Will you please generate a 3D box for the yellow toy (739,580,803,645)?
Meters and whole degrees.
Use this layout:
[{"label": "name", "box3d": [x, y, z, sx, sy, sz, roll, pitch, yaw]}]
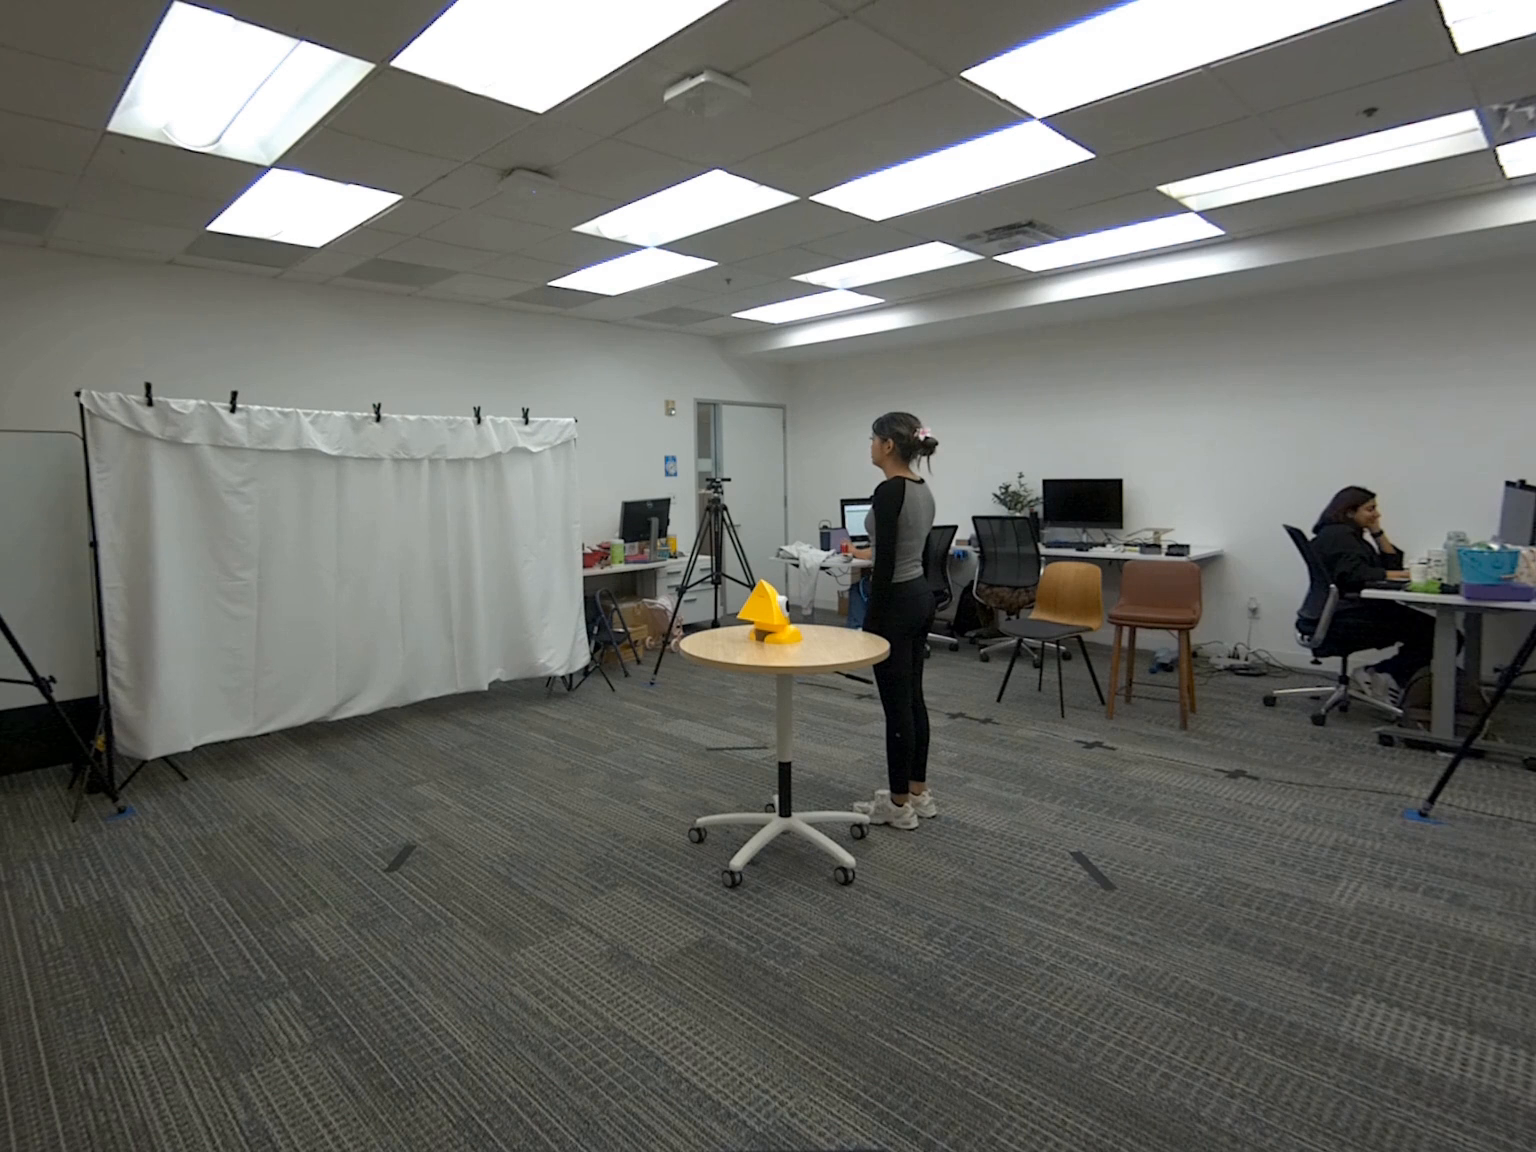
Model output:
[{"label": "yellow toy", "box3d": [0.021, 0.122, 3.202, 0.188, 0.230, 0.211, -4, 6, -43]}]
